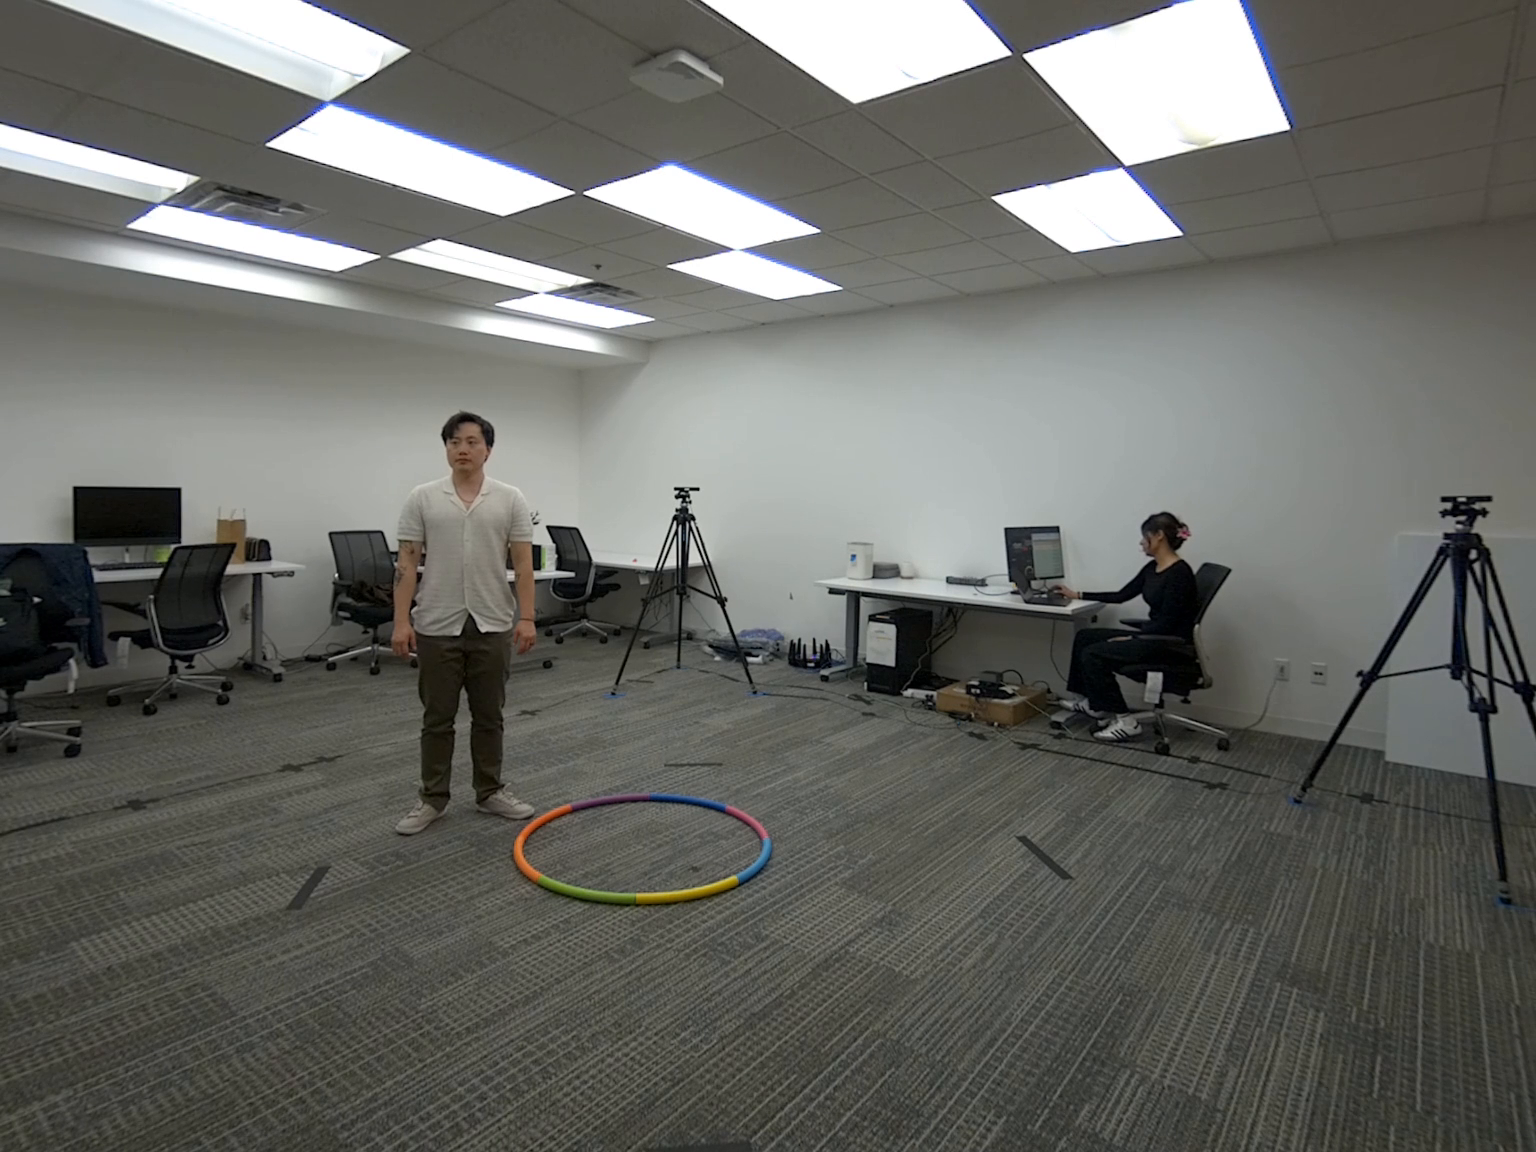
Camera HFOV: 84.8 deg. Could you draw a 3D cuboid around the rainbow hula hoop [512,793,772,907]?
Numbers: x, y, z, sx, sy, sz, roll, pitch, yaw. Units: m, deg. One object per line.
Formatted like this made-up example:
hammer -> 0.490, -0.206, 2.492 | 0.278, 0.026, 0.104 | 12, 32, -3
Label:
rainbow hula hoop -> -0.486, 1.013, 3.299 | 0.978, 0.035, 0.984 | 1, 5, -2
